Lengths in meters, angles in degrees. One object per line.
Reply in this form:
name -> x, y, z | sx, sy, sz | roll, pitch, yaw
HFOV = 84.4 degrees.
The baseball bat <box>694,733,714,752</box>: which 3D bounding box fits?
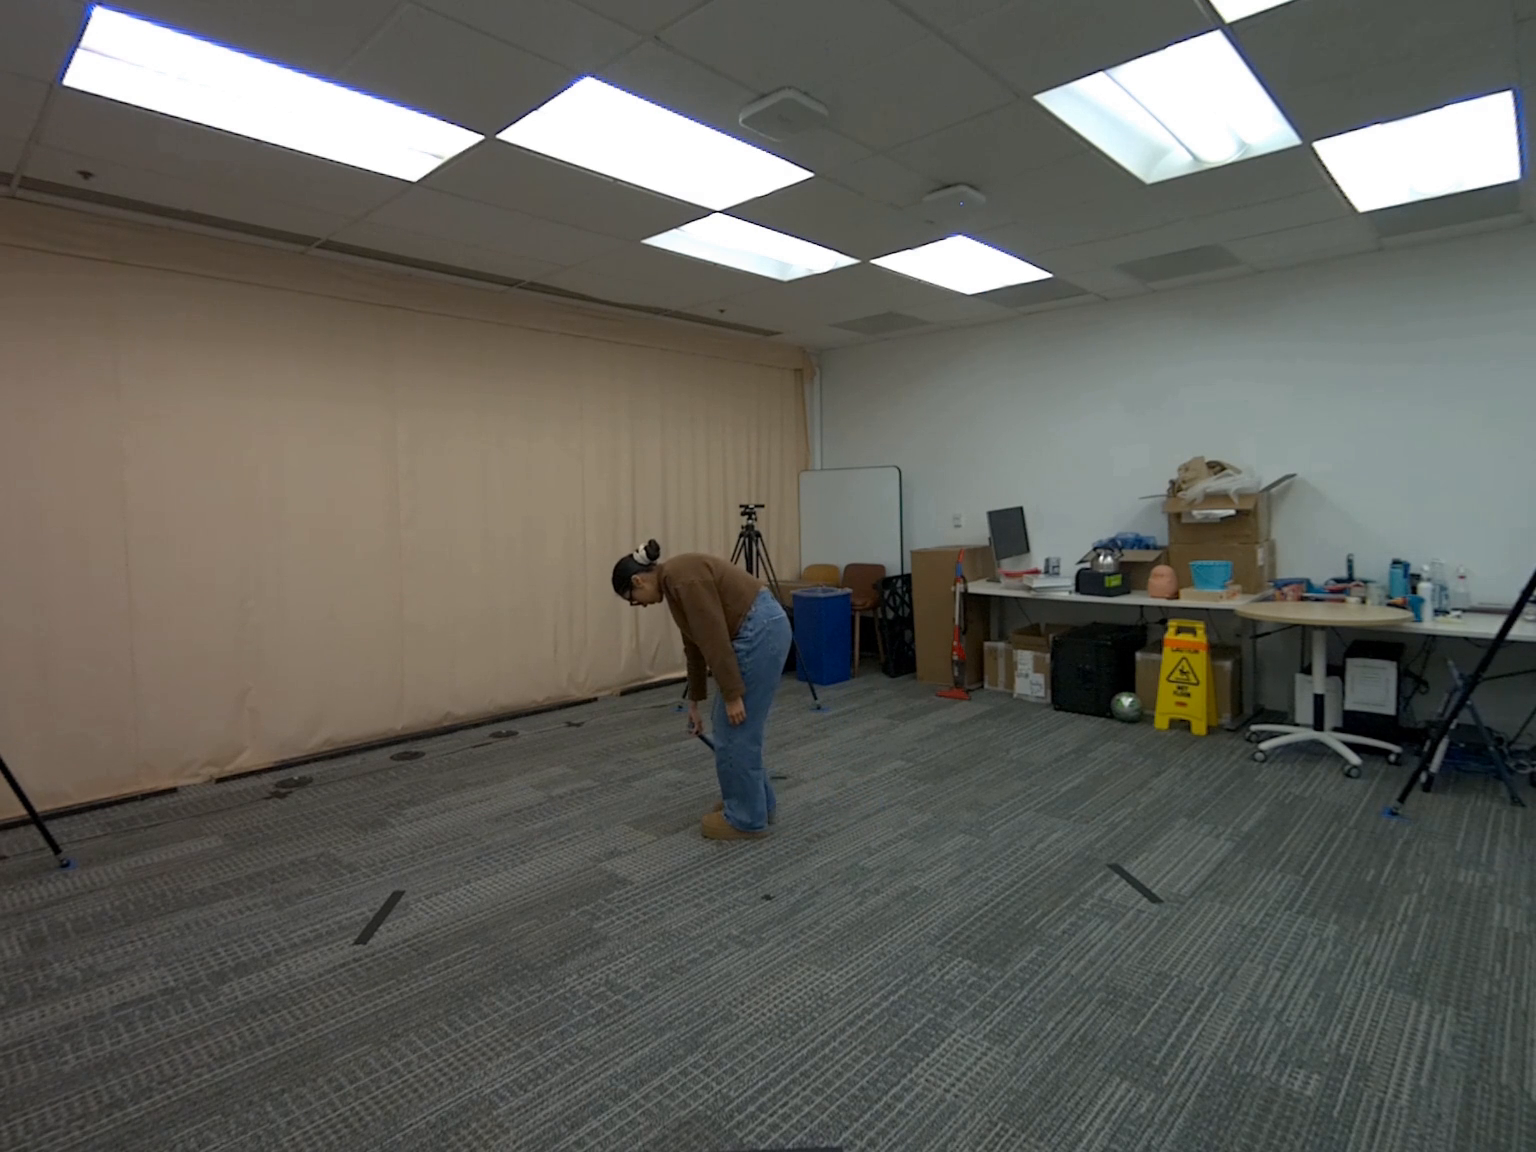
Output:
baseball bat -> -0.179, 0.858, 3.911 | 0.531, 0.089, 0.091 | 44, -14, -18
